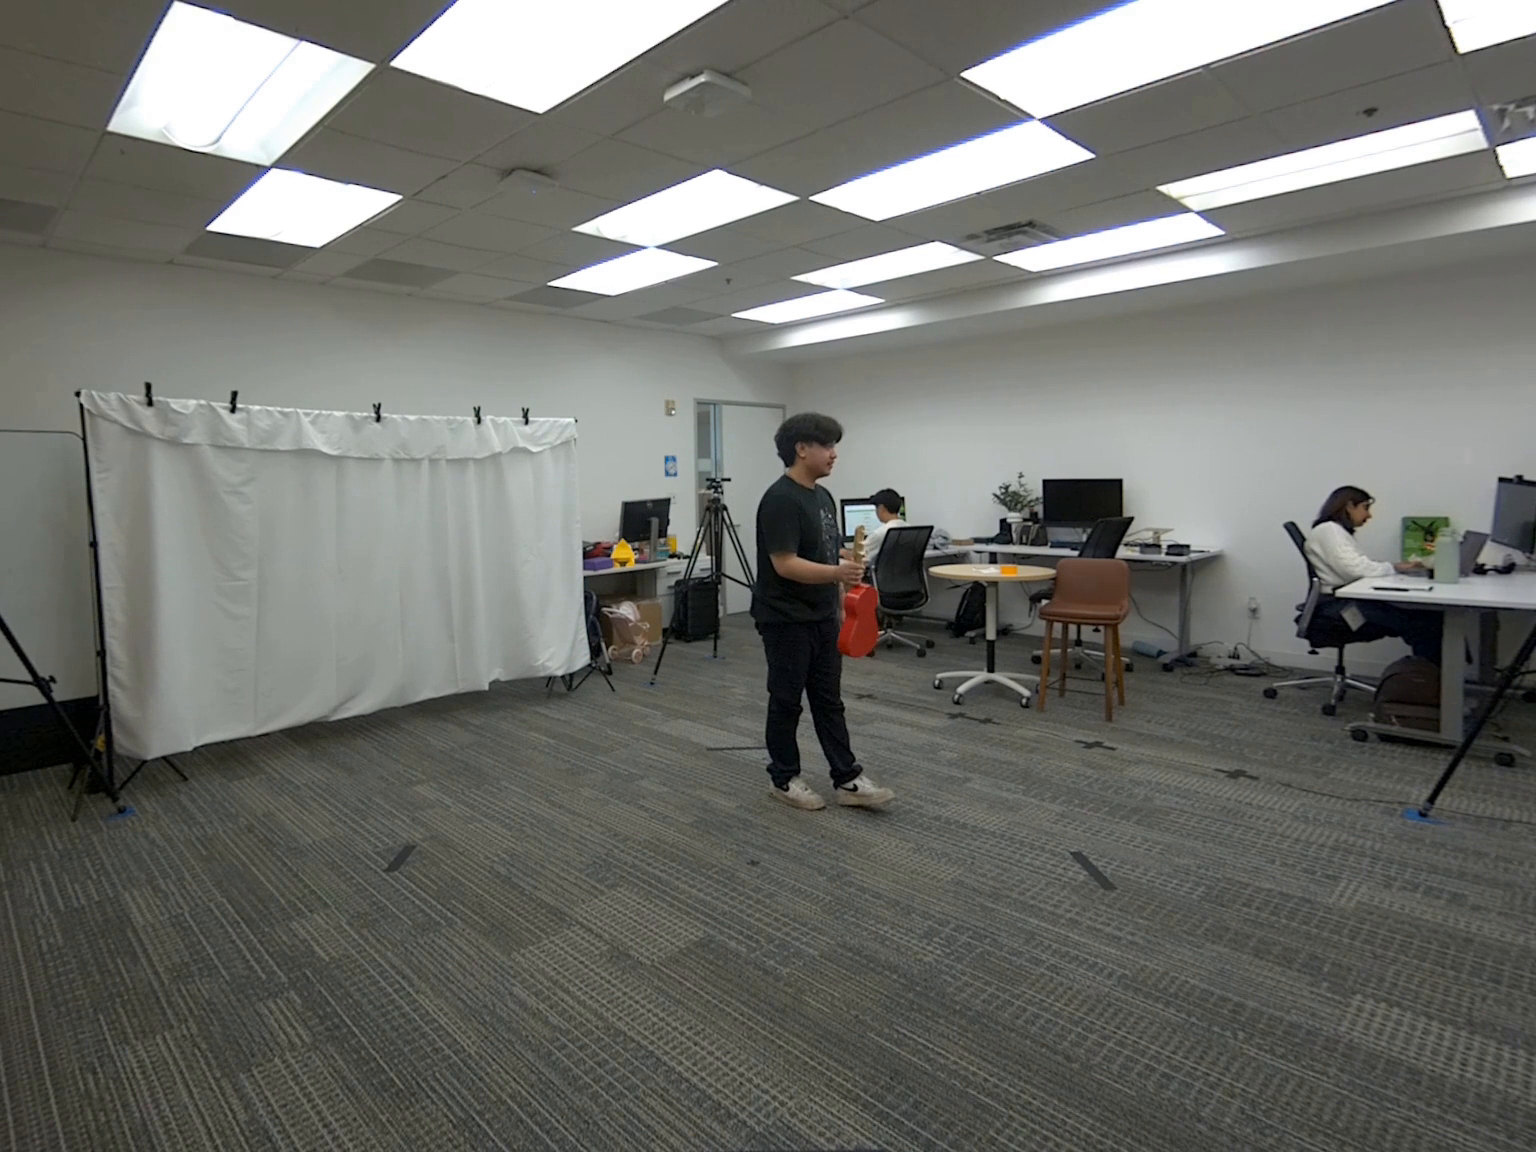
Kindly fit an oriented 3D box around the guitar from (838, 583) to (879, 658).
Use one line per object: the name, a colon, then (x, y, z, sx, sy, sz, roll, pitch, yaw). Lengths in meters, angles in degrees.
guitar: (0.332, 0.067, 3.193, 0.073, 0.488, 0.190, 11, 27, 39)
